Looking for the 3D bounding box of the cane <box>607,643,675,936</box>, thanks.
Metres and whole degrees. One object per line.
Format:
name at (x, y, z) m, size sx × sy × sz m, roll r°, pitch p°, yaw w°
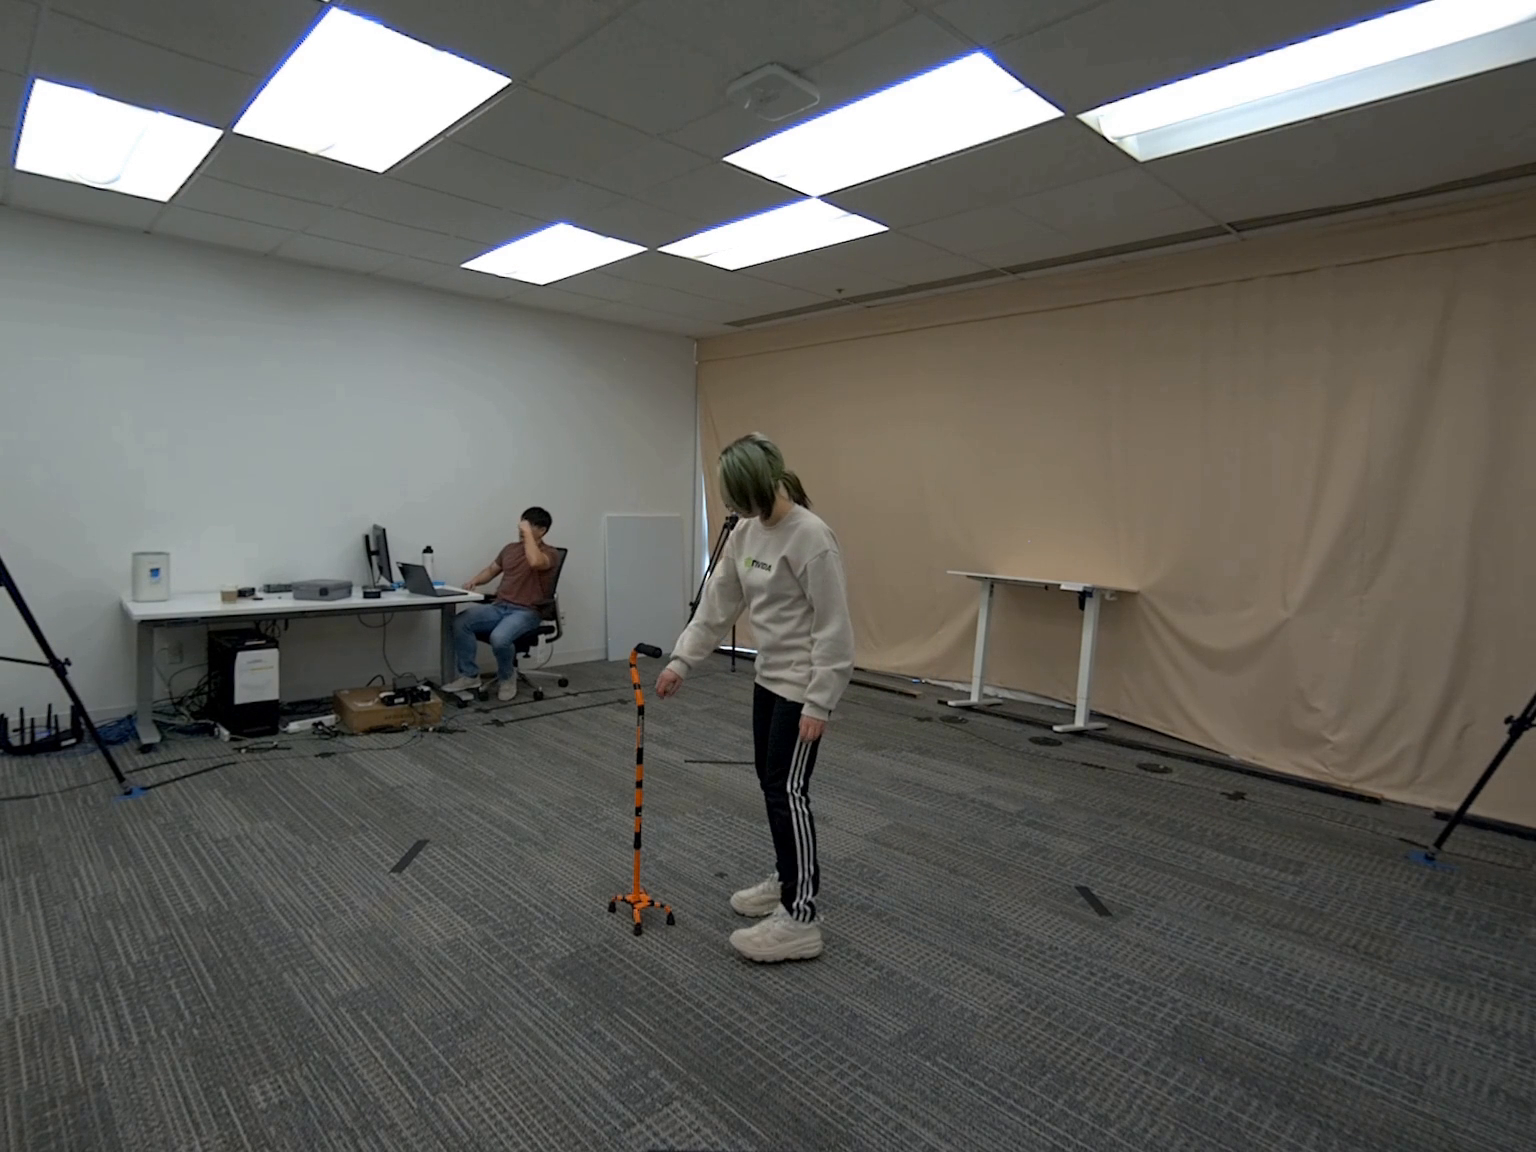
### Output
cane at (-0.417, 0.677, 2.759) m, size 0.148 × 0.906 × 0.211 m, roll -1°, pitch 3°, yaw -36°
